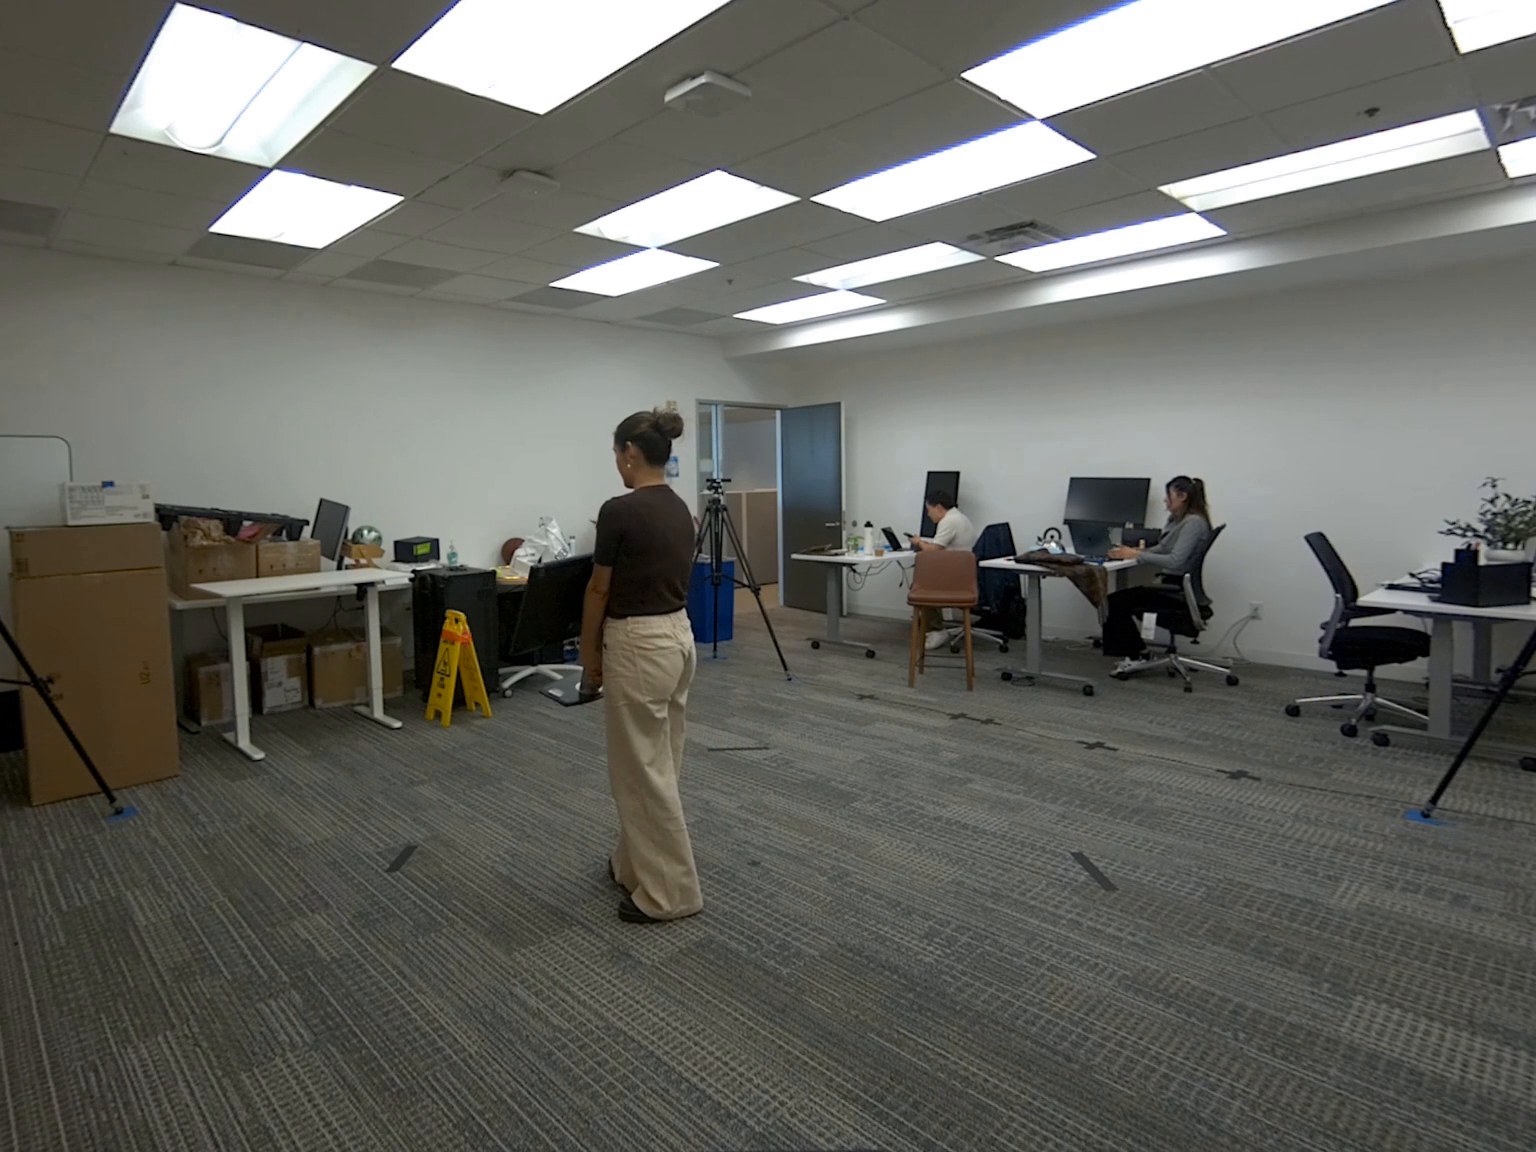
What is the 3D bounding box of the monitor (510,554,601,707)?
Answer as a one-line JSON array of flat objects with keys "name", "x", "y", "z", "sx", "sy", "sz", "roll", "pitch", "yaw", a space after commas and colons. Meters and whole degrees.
[{"name": "monitor", "x": -0.588, "y": 0.150, "z": 2.859, "sx": 0.194, "sy": 0.515, "sz": 0.528, "roll": 24, "pitch": 26, "yaw": 34}]
